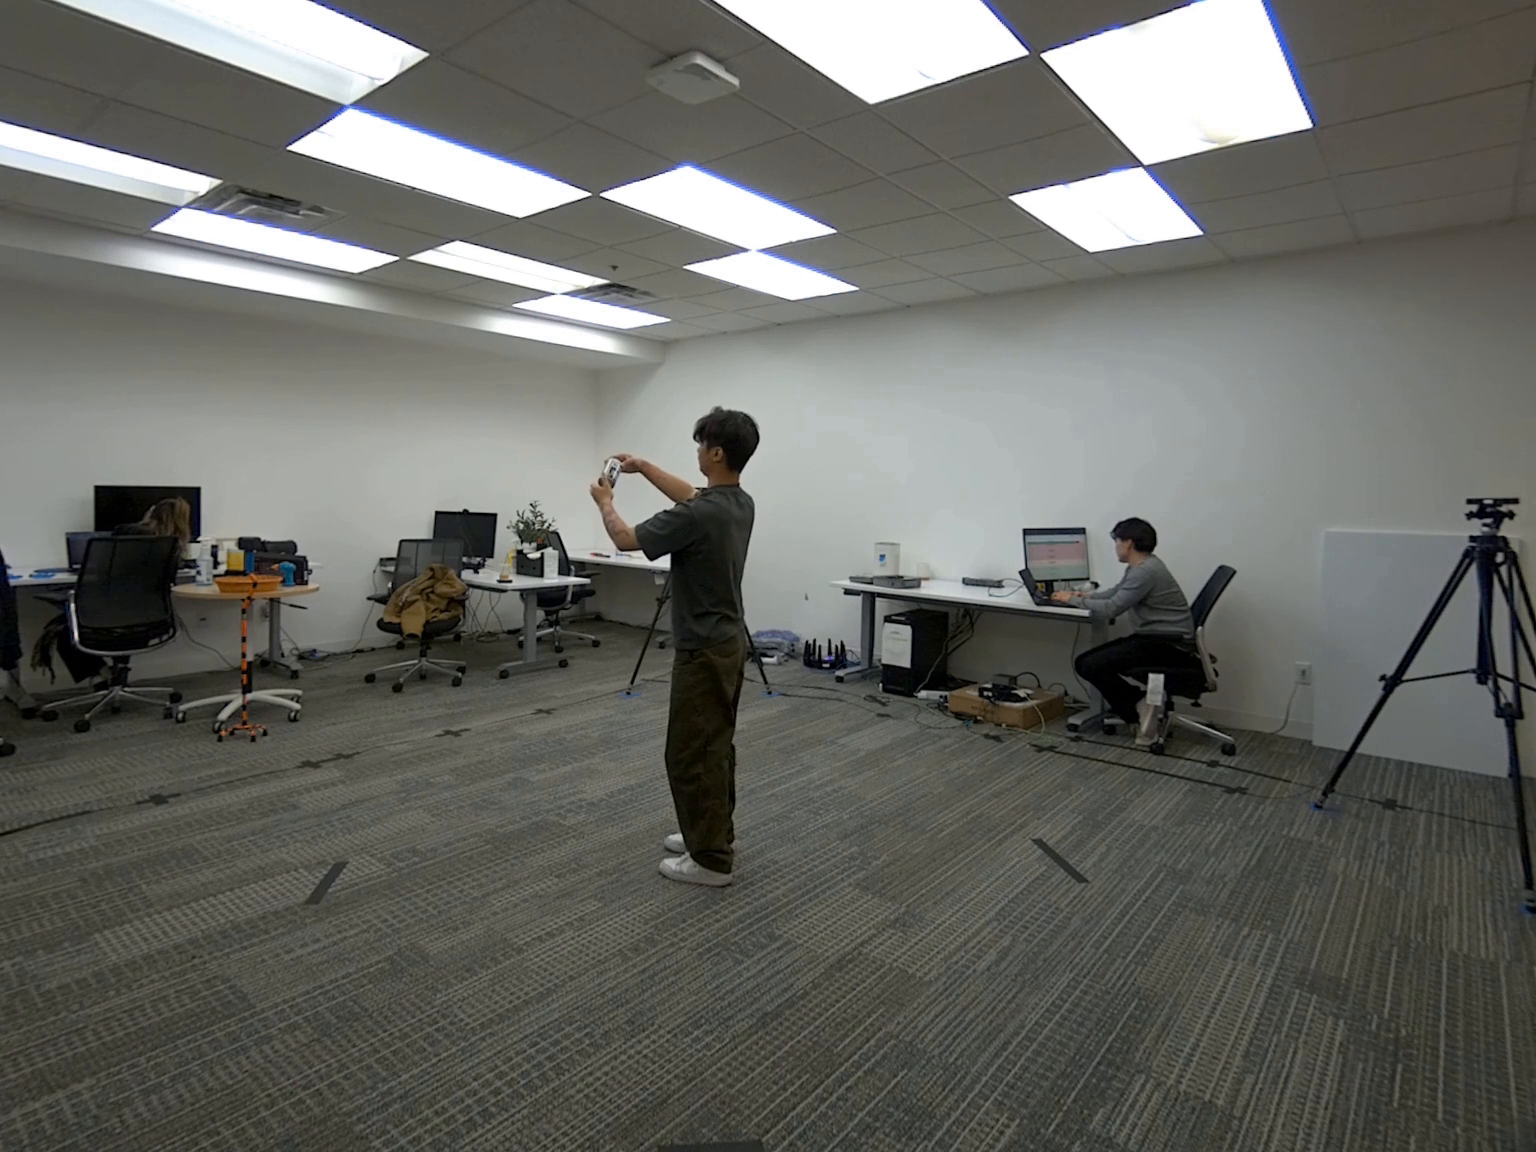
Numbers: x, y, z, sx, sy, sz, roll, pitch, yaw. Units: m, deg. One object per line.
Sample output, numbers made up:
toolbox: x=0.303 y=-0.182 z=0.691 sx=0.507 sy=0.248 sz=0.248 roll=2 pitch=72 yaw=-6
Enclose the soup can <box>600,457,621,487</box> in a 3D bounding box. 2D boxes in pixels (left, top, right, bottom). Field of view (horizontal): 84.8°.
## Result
soup can: x=-0.616 y=-0.401 z=3.297 sx=0.068 sy=0.065 sz=0.124 roll=1 pitch=47 yaw=8
